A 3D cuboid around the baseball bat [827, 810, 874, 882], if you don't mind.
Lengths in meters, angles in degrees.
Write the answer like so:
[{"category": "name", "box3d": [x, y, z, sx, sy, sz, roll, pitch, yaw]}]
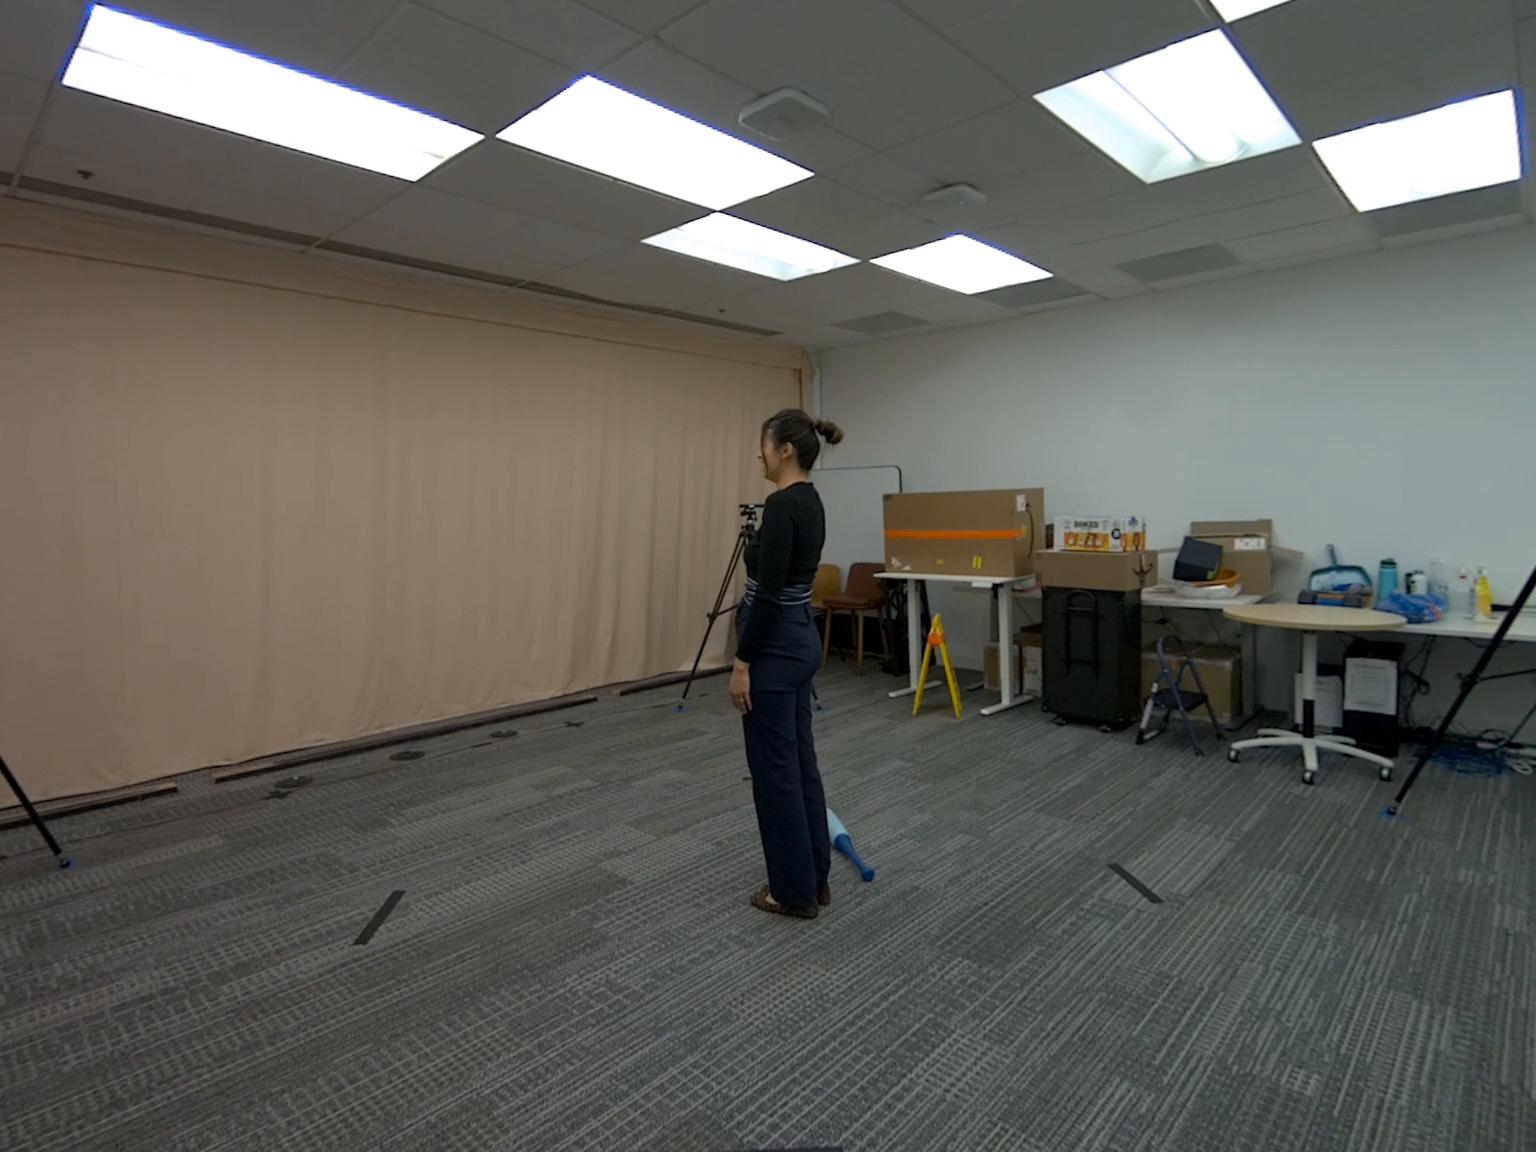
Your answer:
[{"category": "baseball bat", "box3d": [0.306, 1.068, 3.349, 0.088, 0.088, 0.552, -2, 8, -14]}]
